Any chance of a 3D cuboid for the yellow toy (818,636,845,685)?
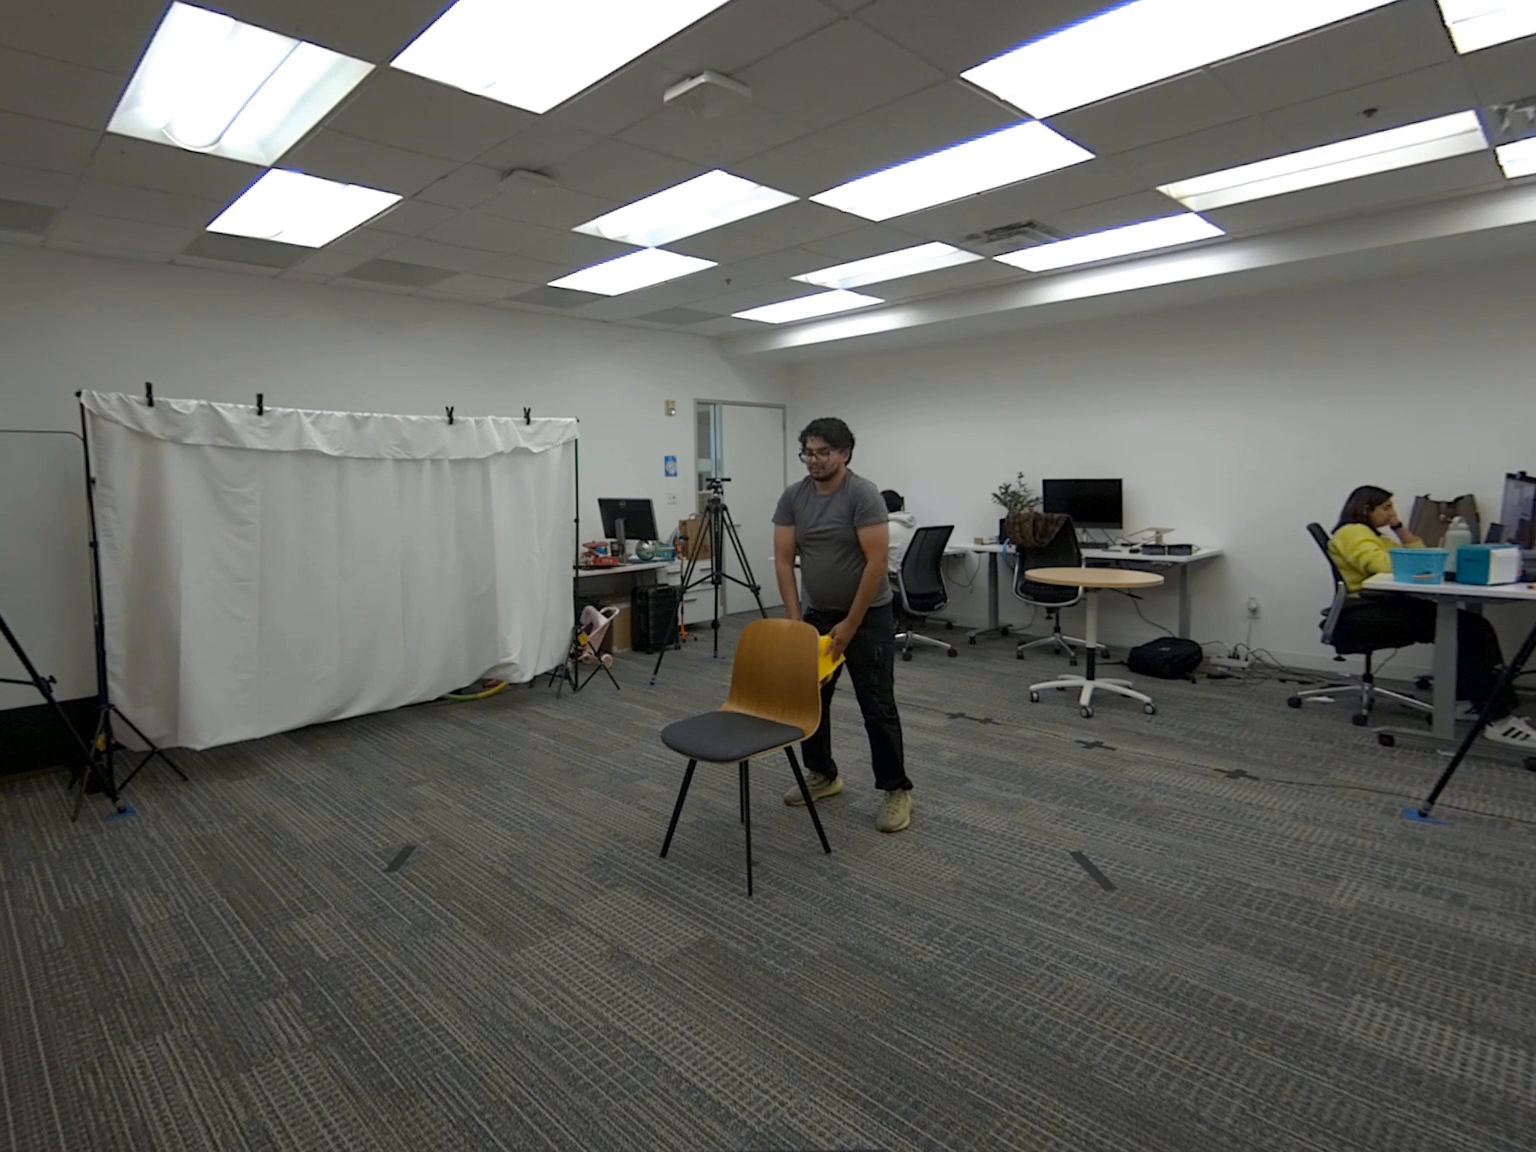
[{"bbox_3d":[0.178,0.314,3.351,0.200,0.225,0.202,24,37,31],"label":"yellow toy"}]
